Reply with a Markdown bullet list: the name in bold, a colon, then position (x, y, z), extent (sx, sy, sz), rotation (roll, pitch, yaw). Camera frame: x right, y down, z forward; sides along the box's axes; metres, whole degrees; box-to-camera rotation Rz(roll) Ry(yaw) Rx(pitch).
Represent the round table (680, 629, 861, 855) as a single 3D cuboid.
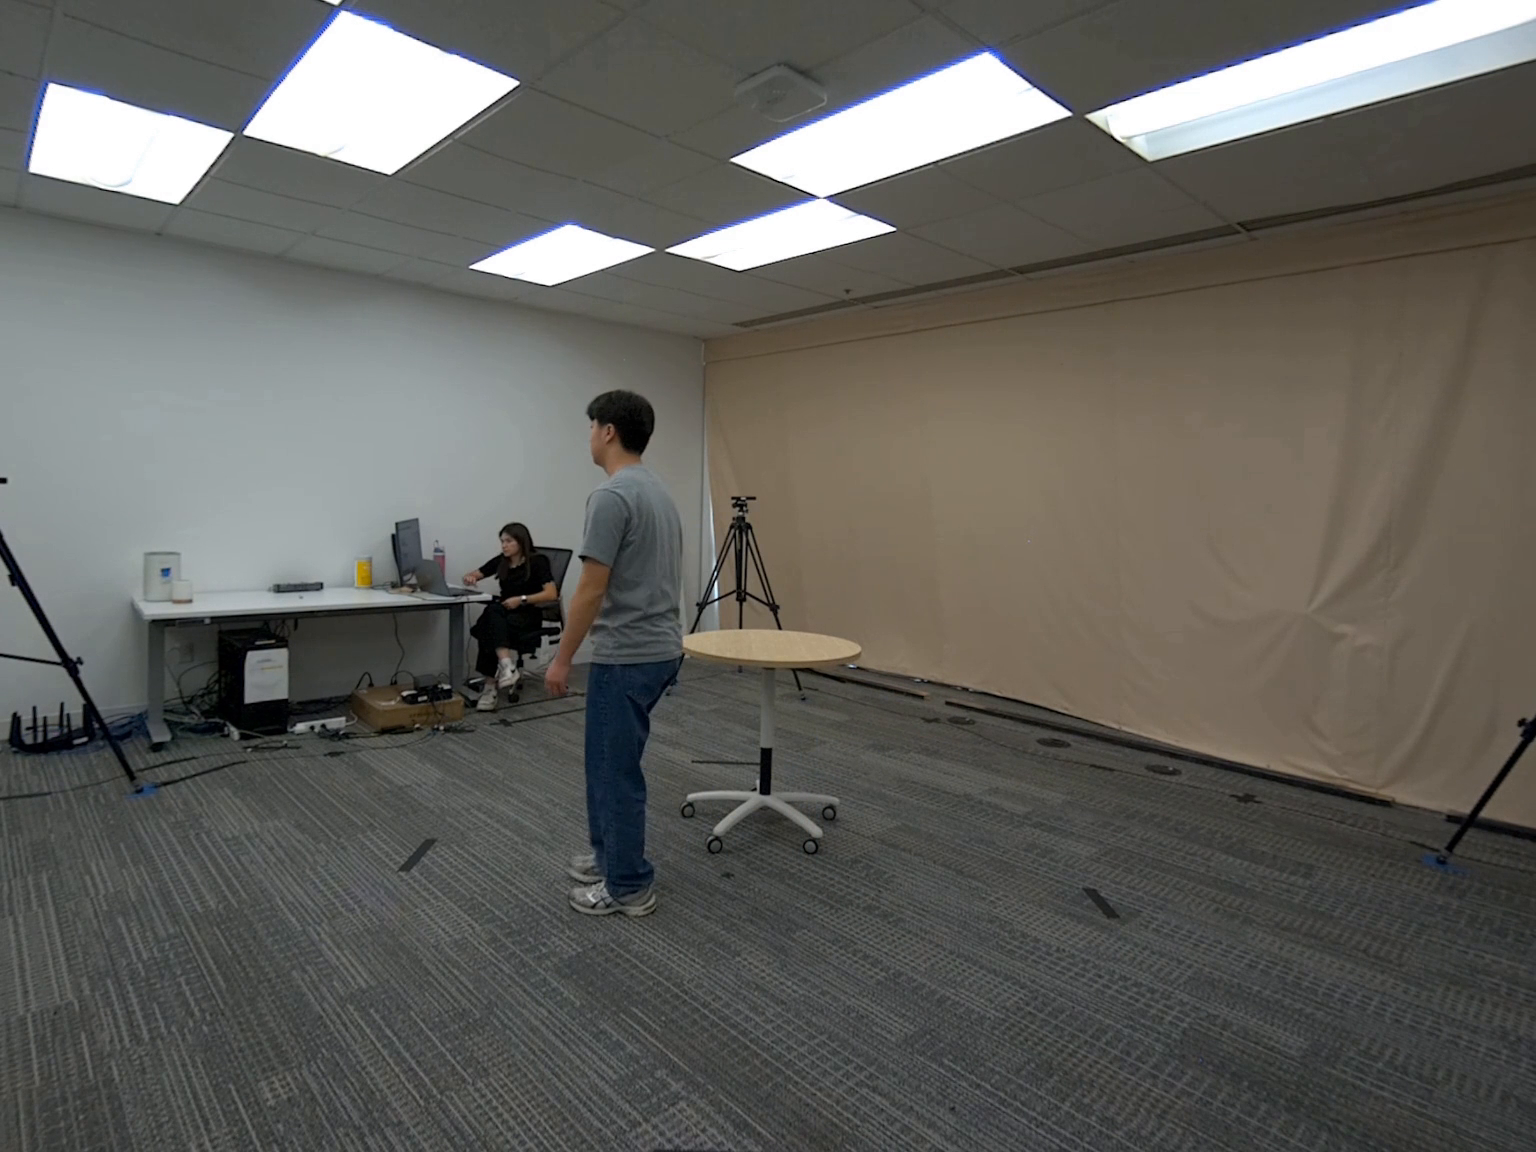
- **round table**: position (-0.012, 0.679, 3.567), extent (0.763, 0.792, 0.766), rotation (2, 3, -1)
